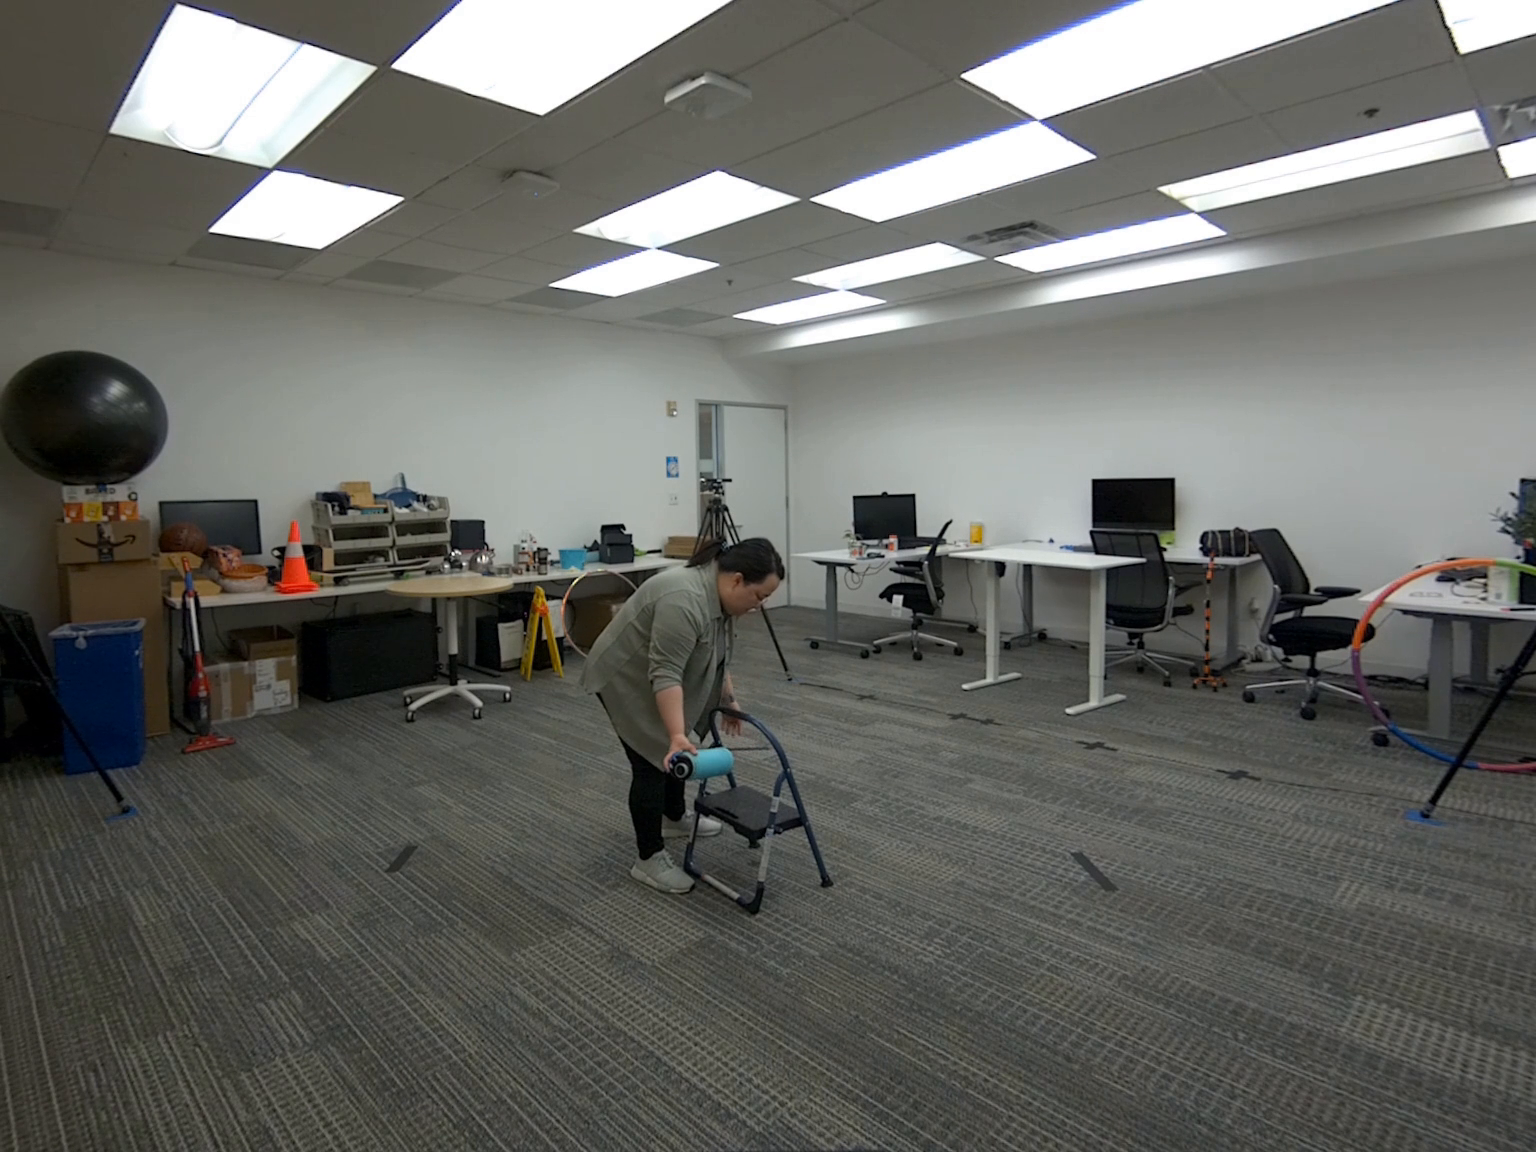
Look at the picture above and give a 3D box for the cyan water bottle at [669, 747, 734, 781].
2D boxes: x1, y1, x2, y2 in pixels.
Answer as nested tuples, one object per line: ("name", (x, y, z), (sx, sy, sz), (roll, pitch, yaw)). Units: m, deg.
("cyan water bottle", (-0.209, 0.603, 2.718), (0.094, 0.093, 0.275), (2, -5, 27))
